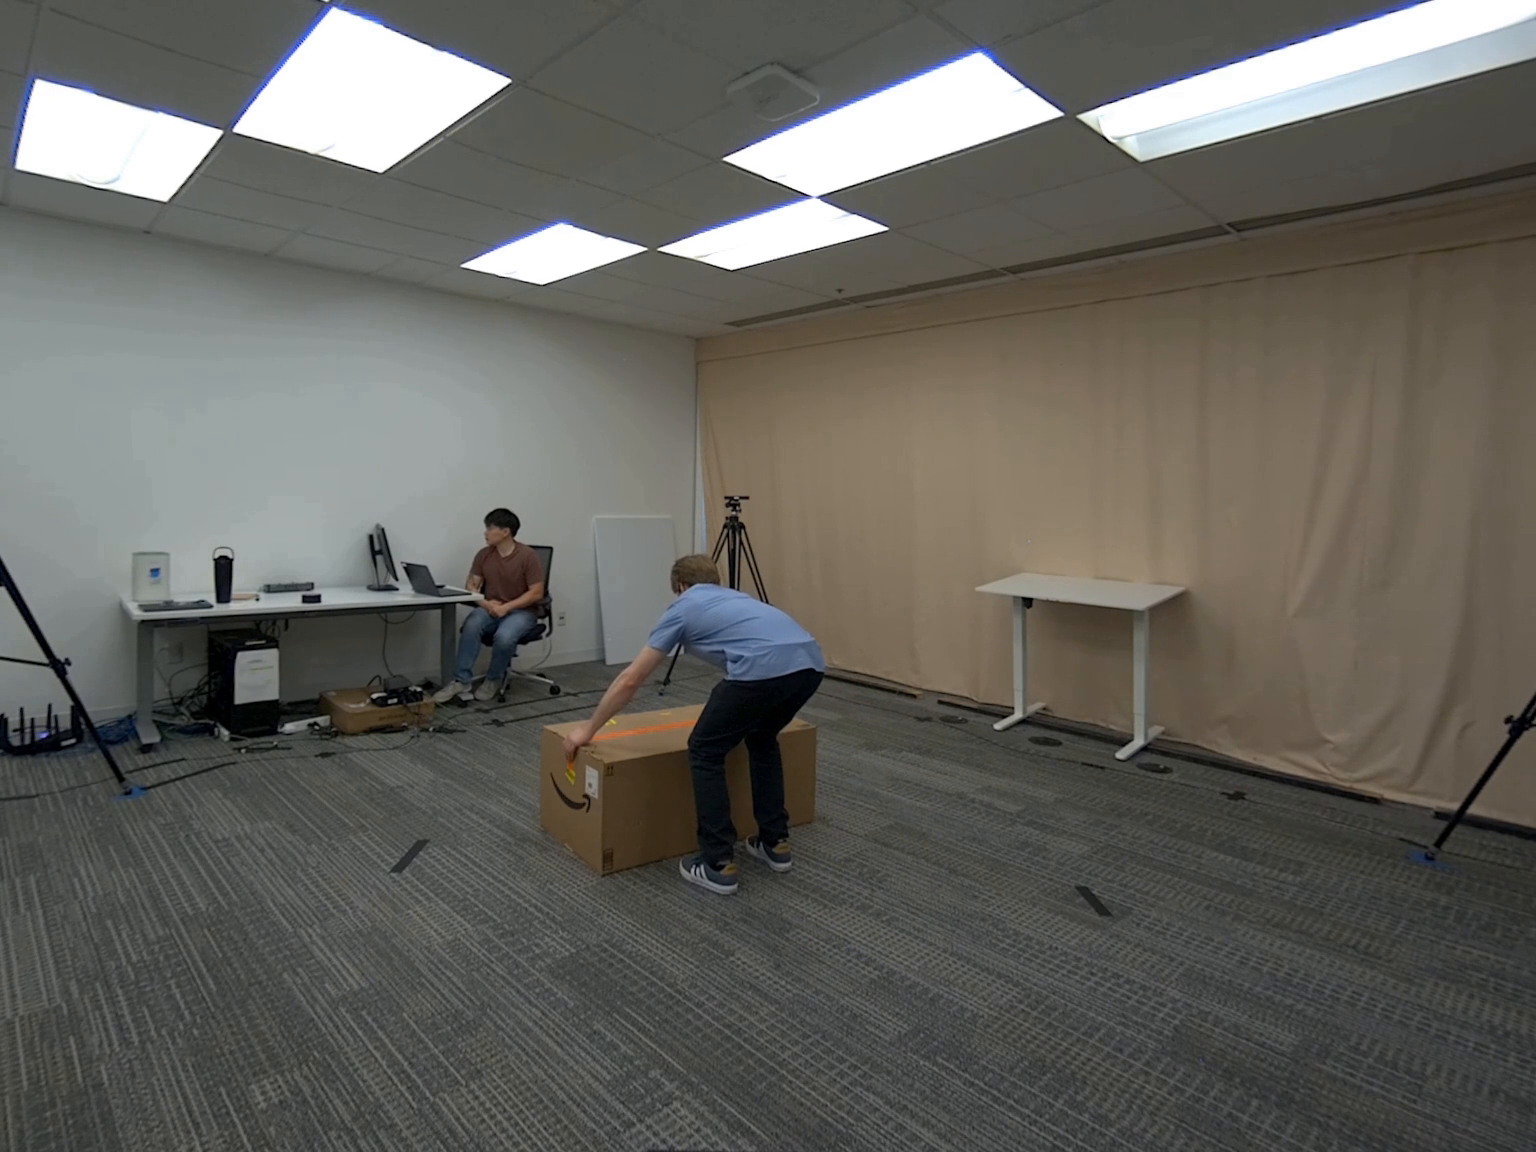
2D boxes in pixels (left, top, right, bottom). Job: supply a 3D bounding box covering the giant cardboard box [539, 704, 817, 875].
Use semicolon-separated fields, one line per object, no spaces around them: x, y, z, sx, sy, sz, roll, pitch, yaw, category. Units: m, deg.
-0.380;0.844;3.578;1.004;0.445;0.599;-1;6;-36;giant cardboard box
